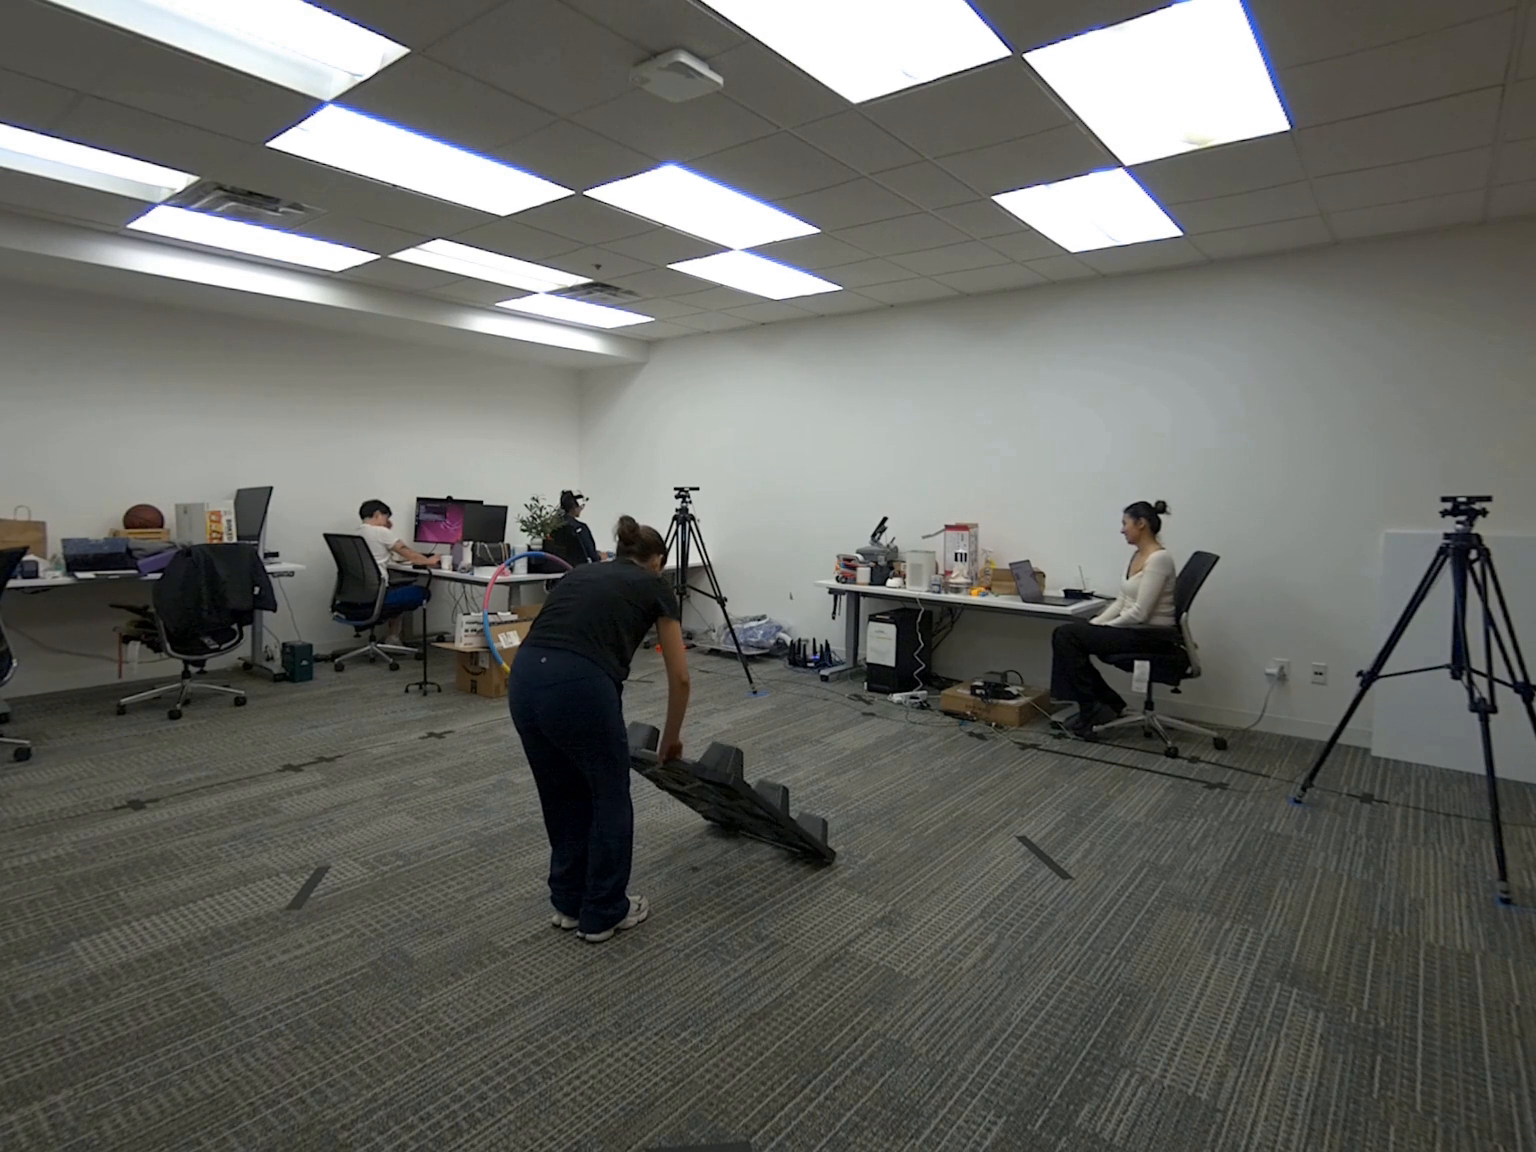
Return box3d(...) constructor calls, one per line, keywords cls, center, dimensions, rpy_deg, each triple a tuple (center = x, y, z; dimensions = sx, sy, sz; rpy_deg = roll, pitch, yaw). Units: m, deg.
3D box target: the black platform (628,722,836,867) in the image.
box3d(cls="black platform", center=(-0.139, 0.783, 3.130), dimensions=(0.625, 0.144, 0.772), rpy_deg=(6, -30, 38))
